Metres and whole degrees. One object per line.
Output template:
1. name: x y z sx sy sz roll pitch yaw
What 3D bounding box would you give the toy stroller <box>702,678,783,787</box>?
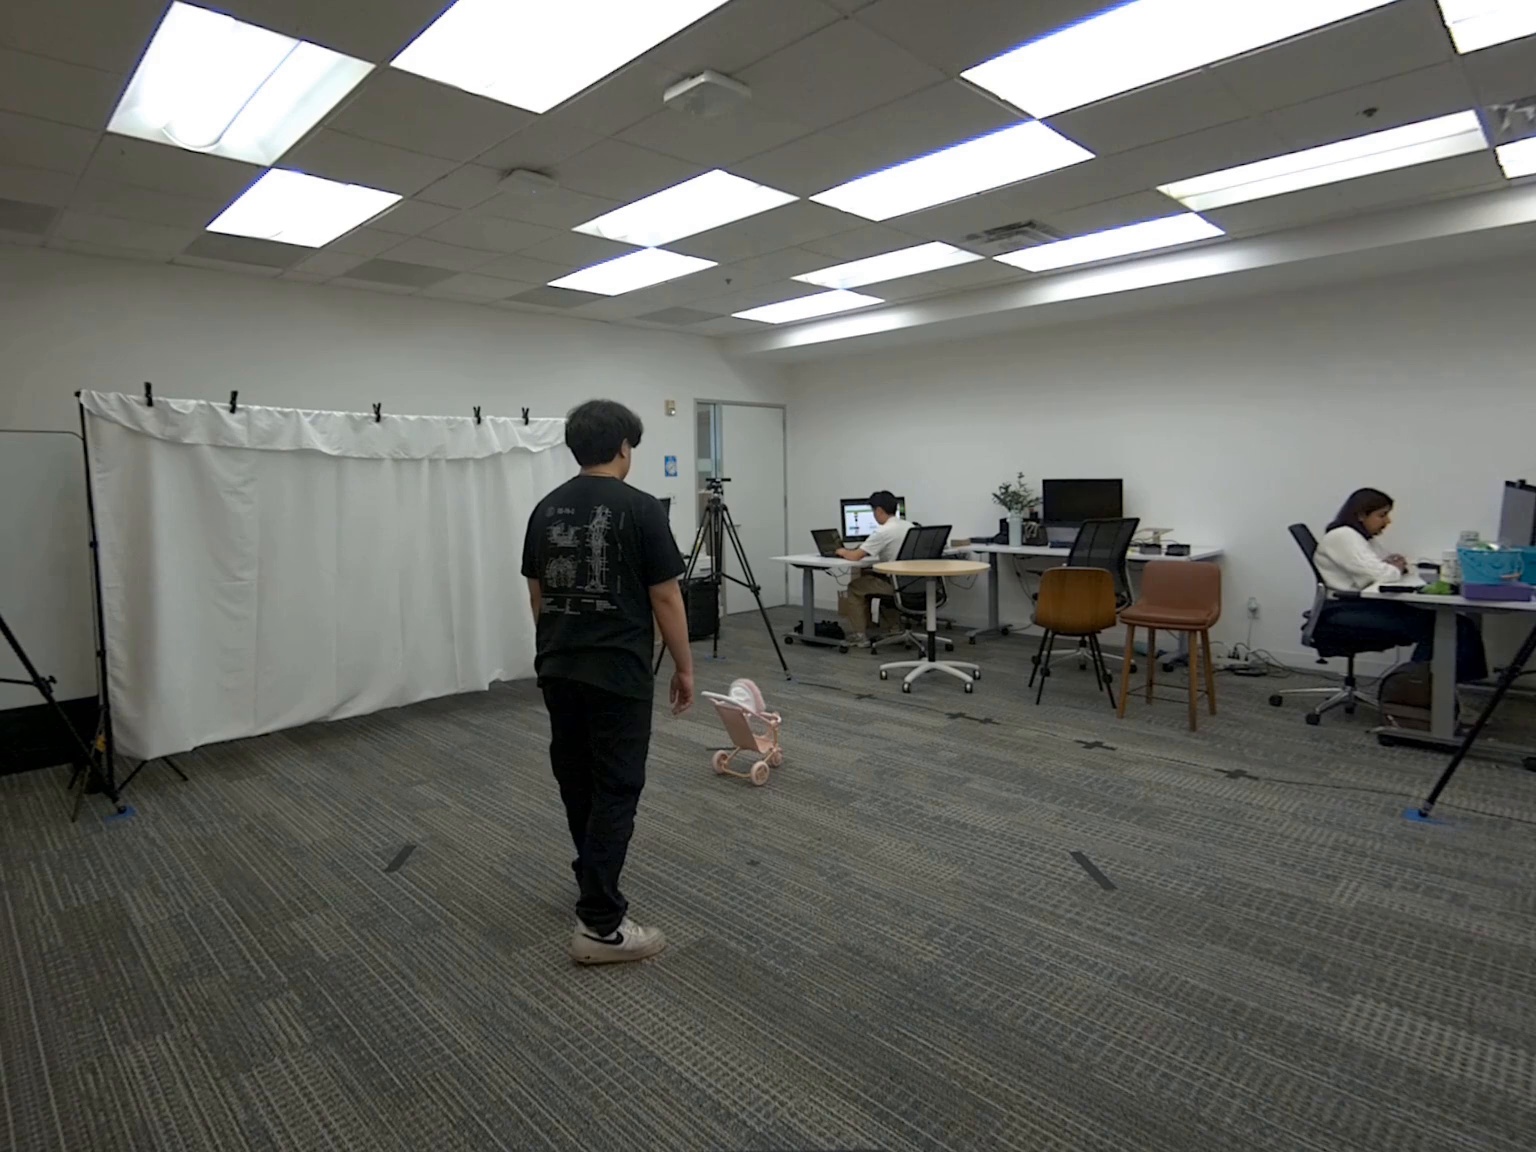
1. toy stroller: -0.091 0.716 4.009 0.336 0.527 0.290 -26 19 -39
